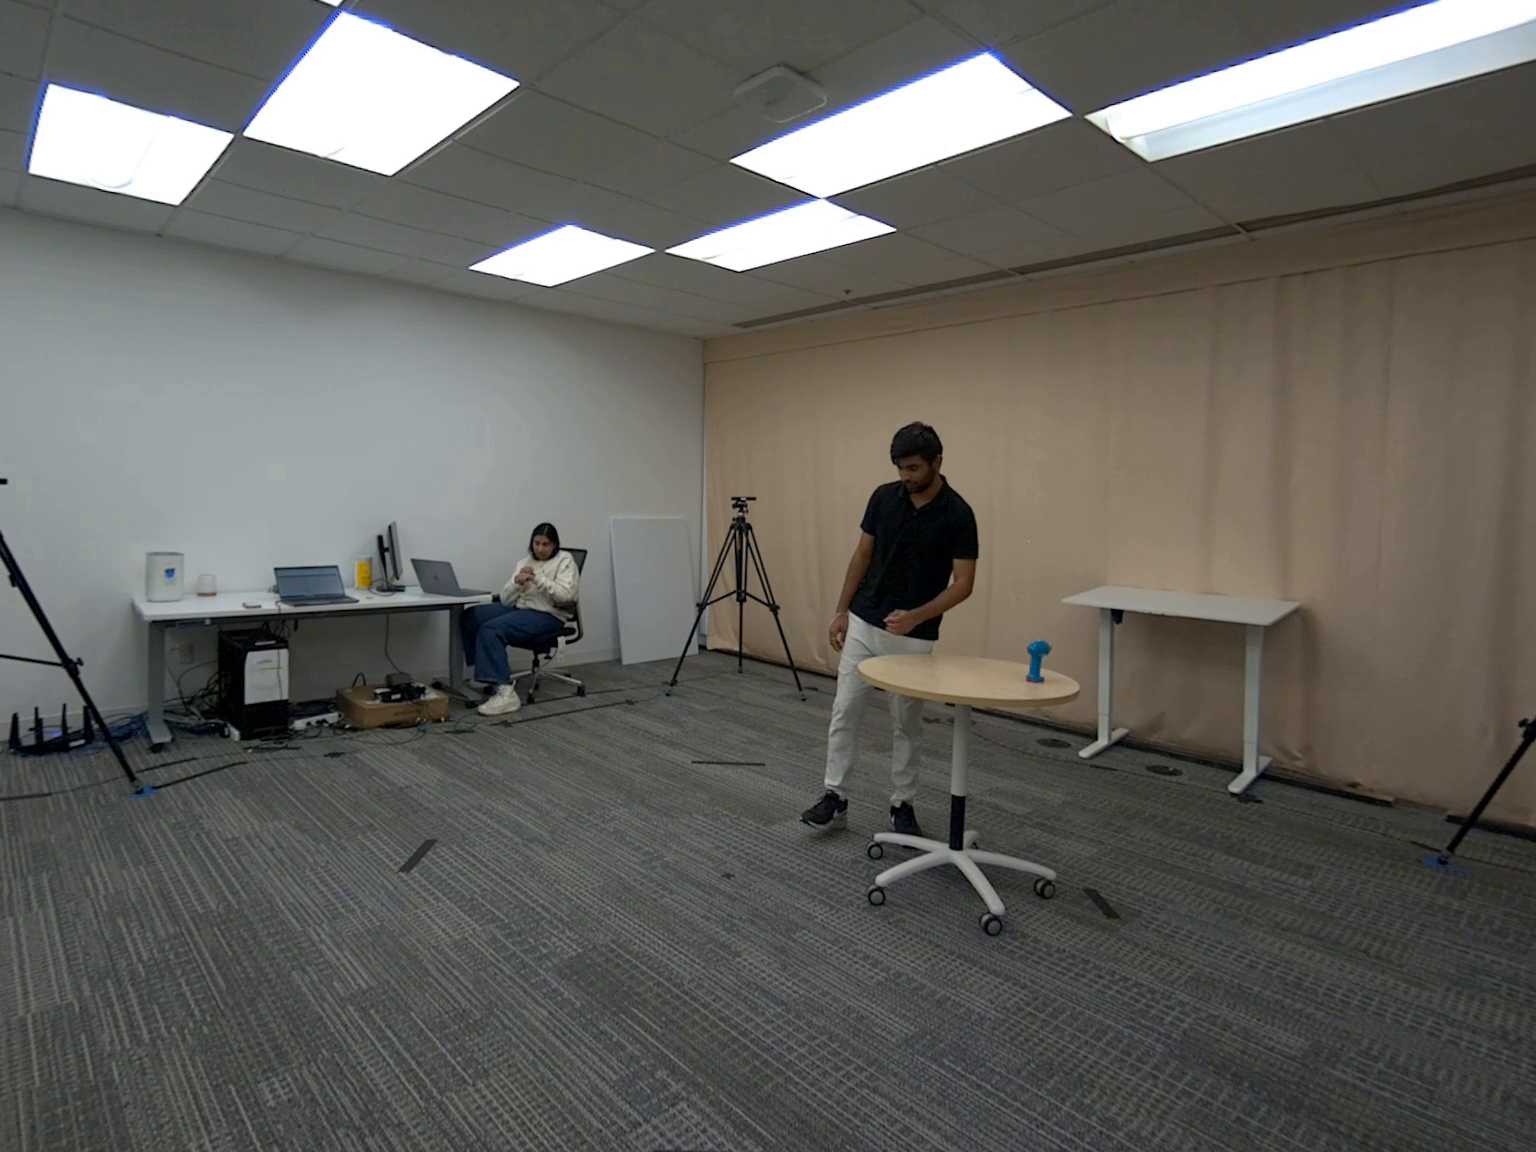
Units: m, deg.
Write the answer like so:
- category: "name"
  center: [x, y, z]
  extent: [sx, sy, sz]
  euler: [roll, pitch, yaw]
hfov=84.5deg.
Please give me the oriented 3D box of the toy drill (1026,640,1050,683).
- category: "toy drill"
  center: [0.957, 0.298, 2.986]
  extent: [0.062, 0.146, 0.166]
  euler: [-1, 0, 32]
